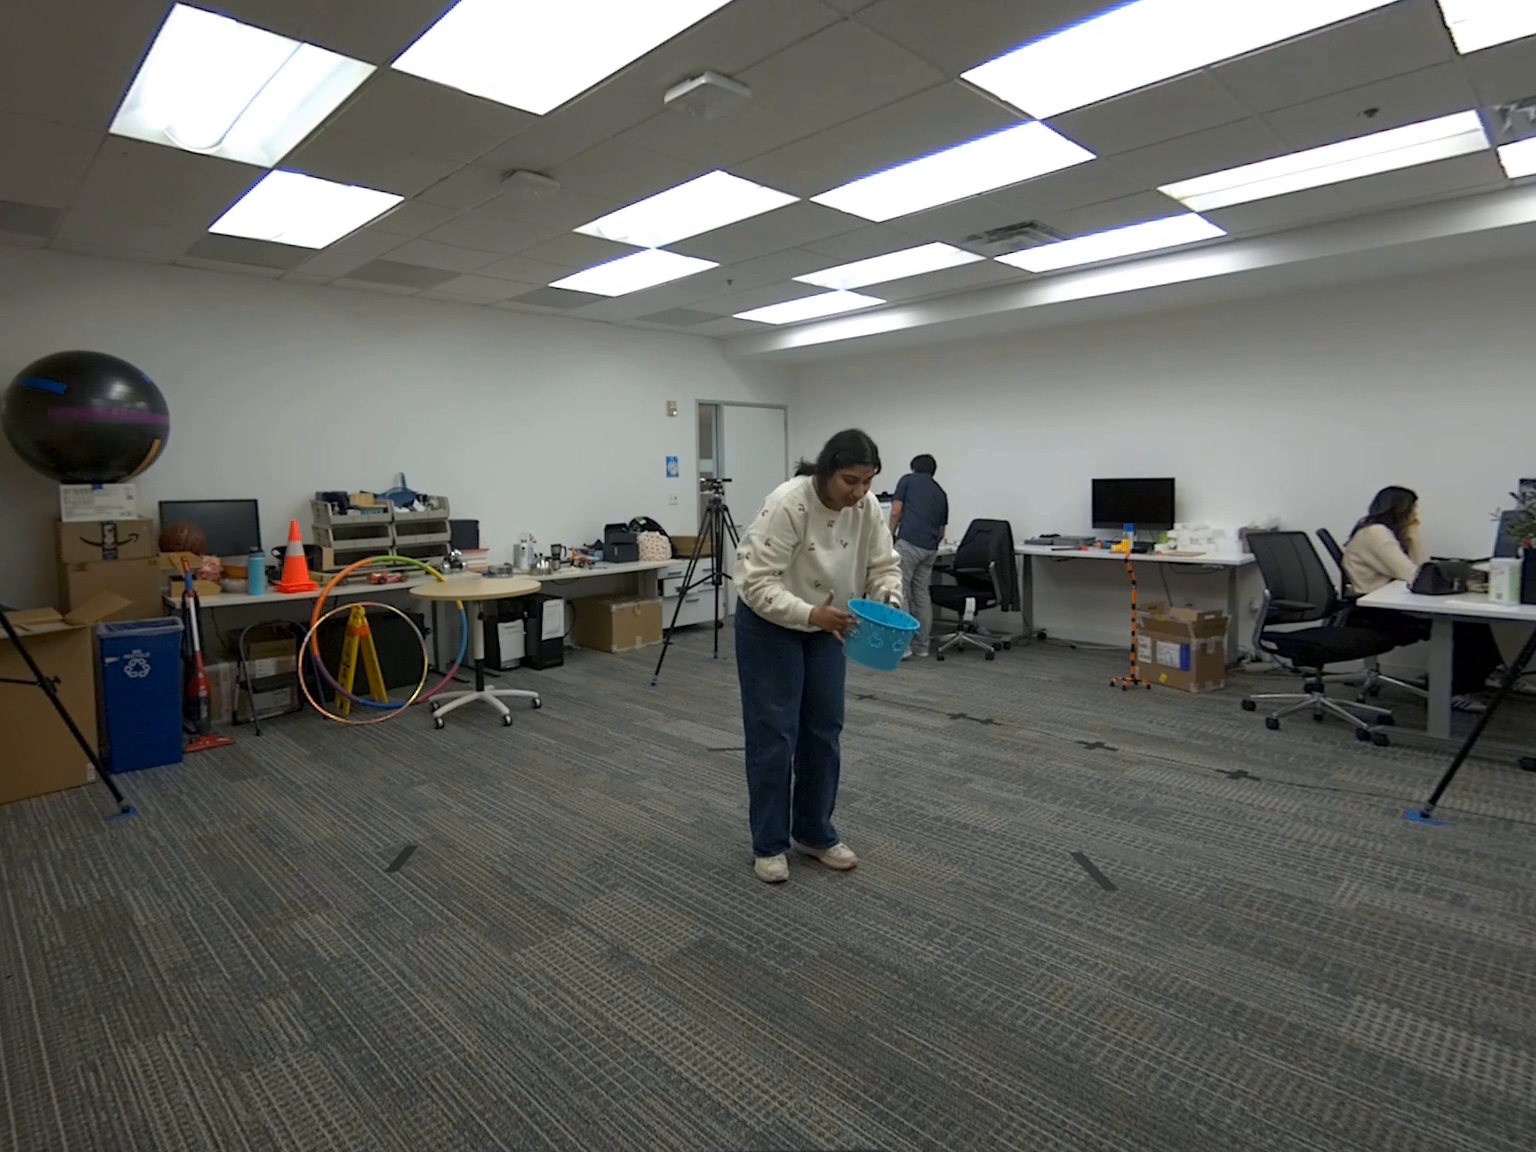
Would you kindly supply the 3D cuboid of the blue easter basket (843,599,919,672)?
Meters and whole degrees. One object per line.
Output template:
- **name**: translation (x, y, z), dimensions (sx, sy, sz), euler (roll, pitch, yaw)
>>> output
- **blue easter basket**: translation (0.345, 0.191, 2.653), dimensions (0.243, 0.154, 0.246), euler (11, 12, -4)
